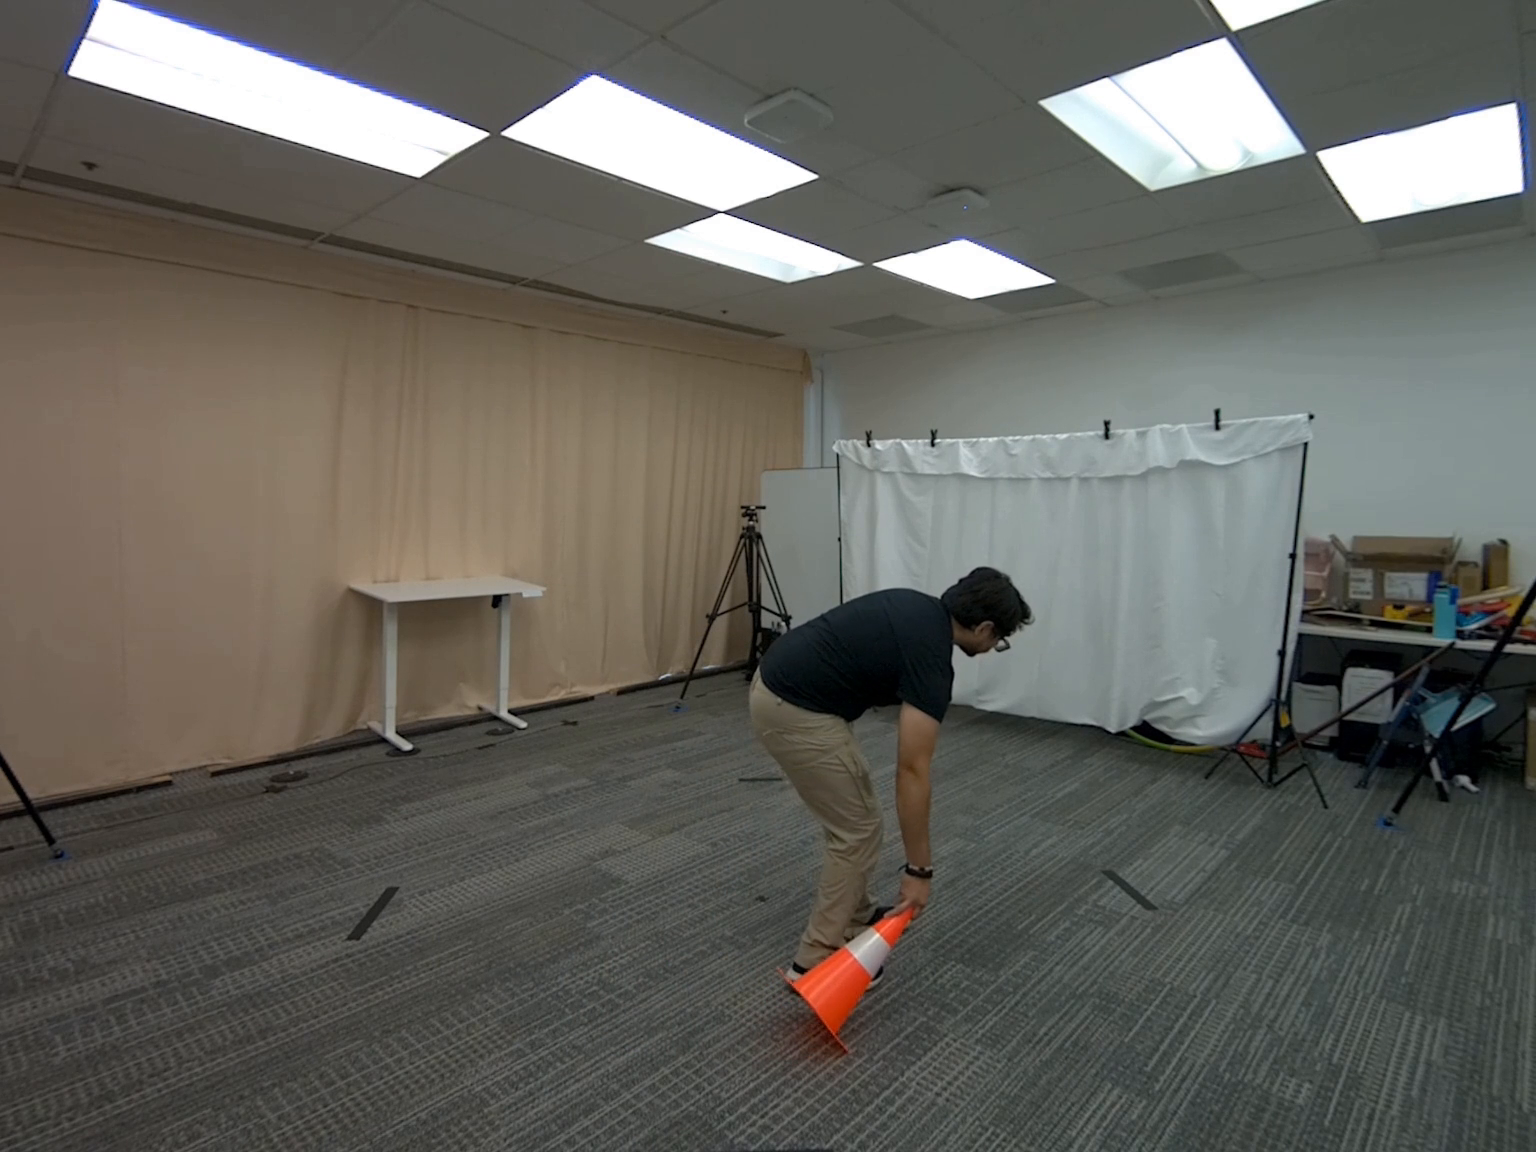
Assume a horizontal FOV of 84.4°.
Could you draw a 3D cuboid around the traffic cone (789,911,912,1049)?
[{"bbox_3d":[0.249,1.013,2.240,0.381,0.201,0.209,-41,19,-15],"label":"traffic cone"}]
